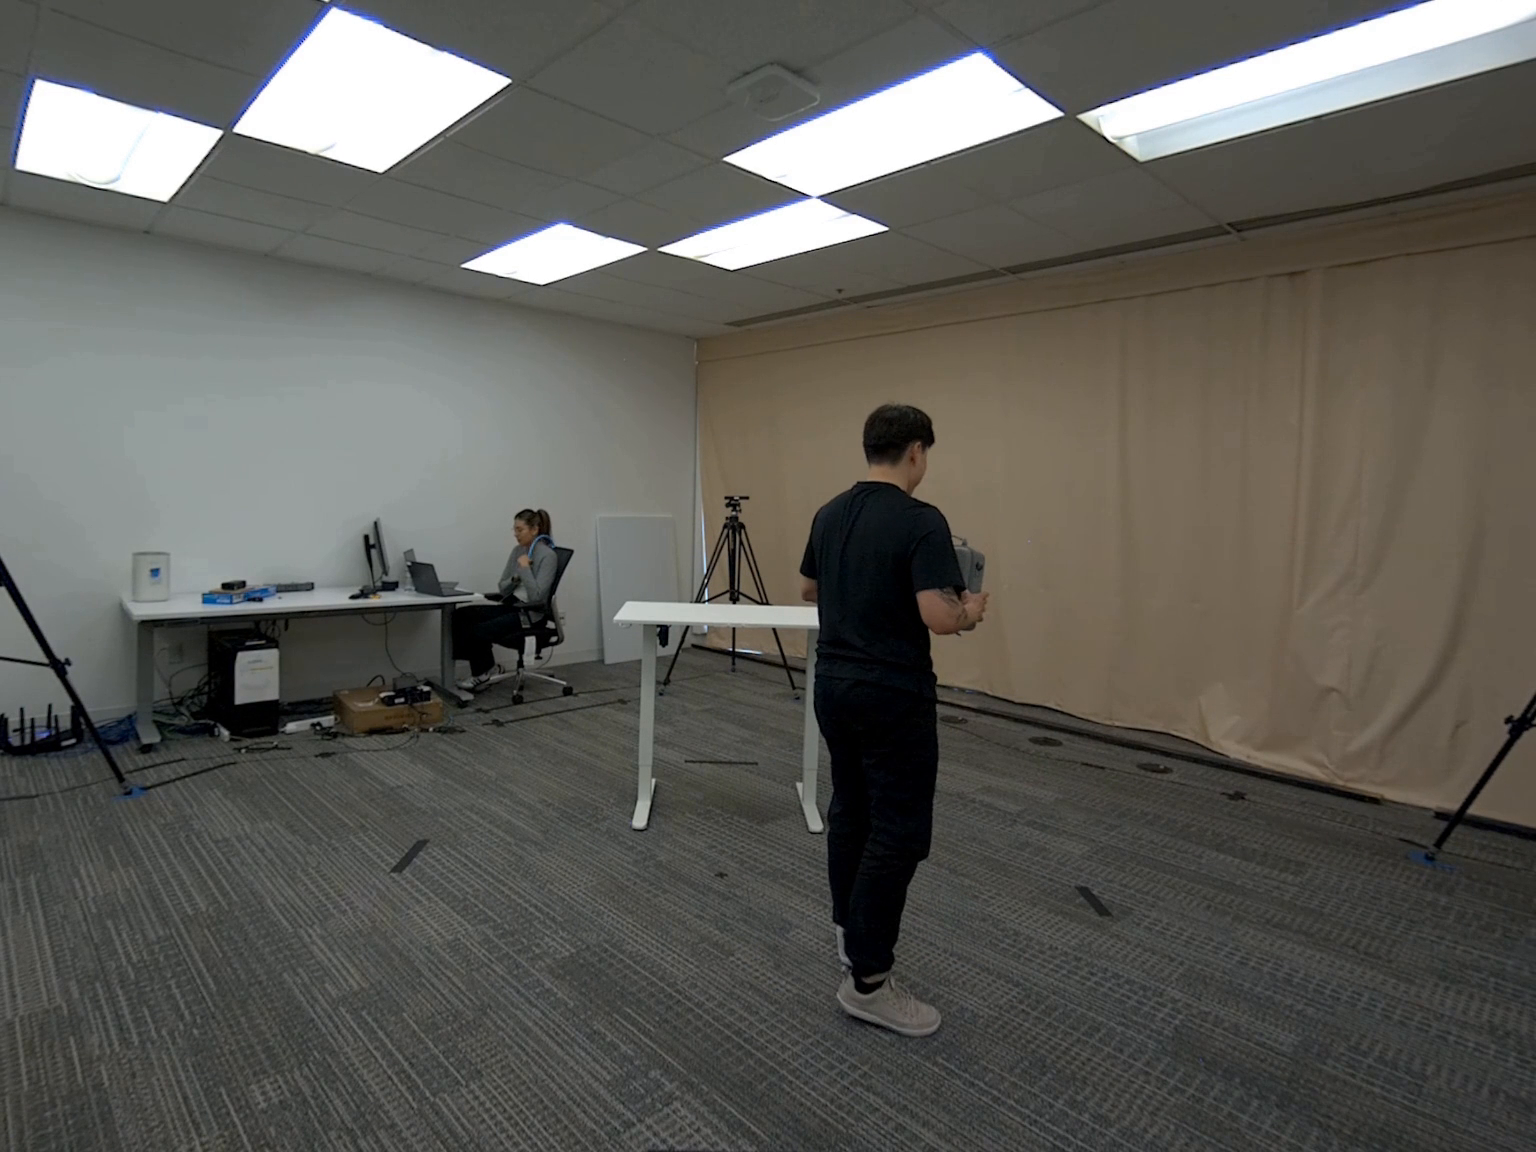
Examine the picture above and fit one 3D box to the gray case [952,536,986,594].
[{"bbox_3d":[0.536,0.035,2.580,0.101,0.261,0.263,13,-4,-37],"label":"gray case"}]
